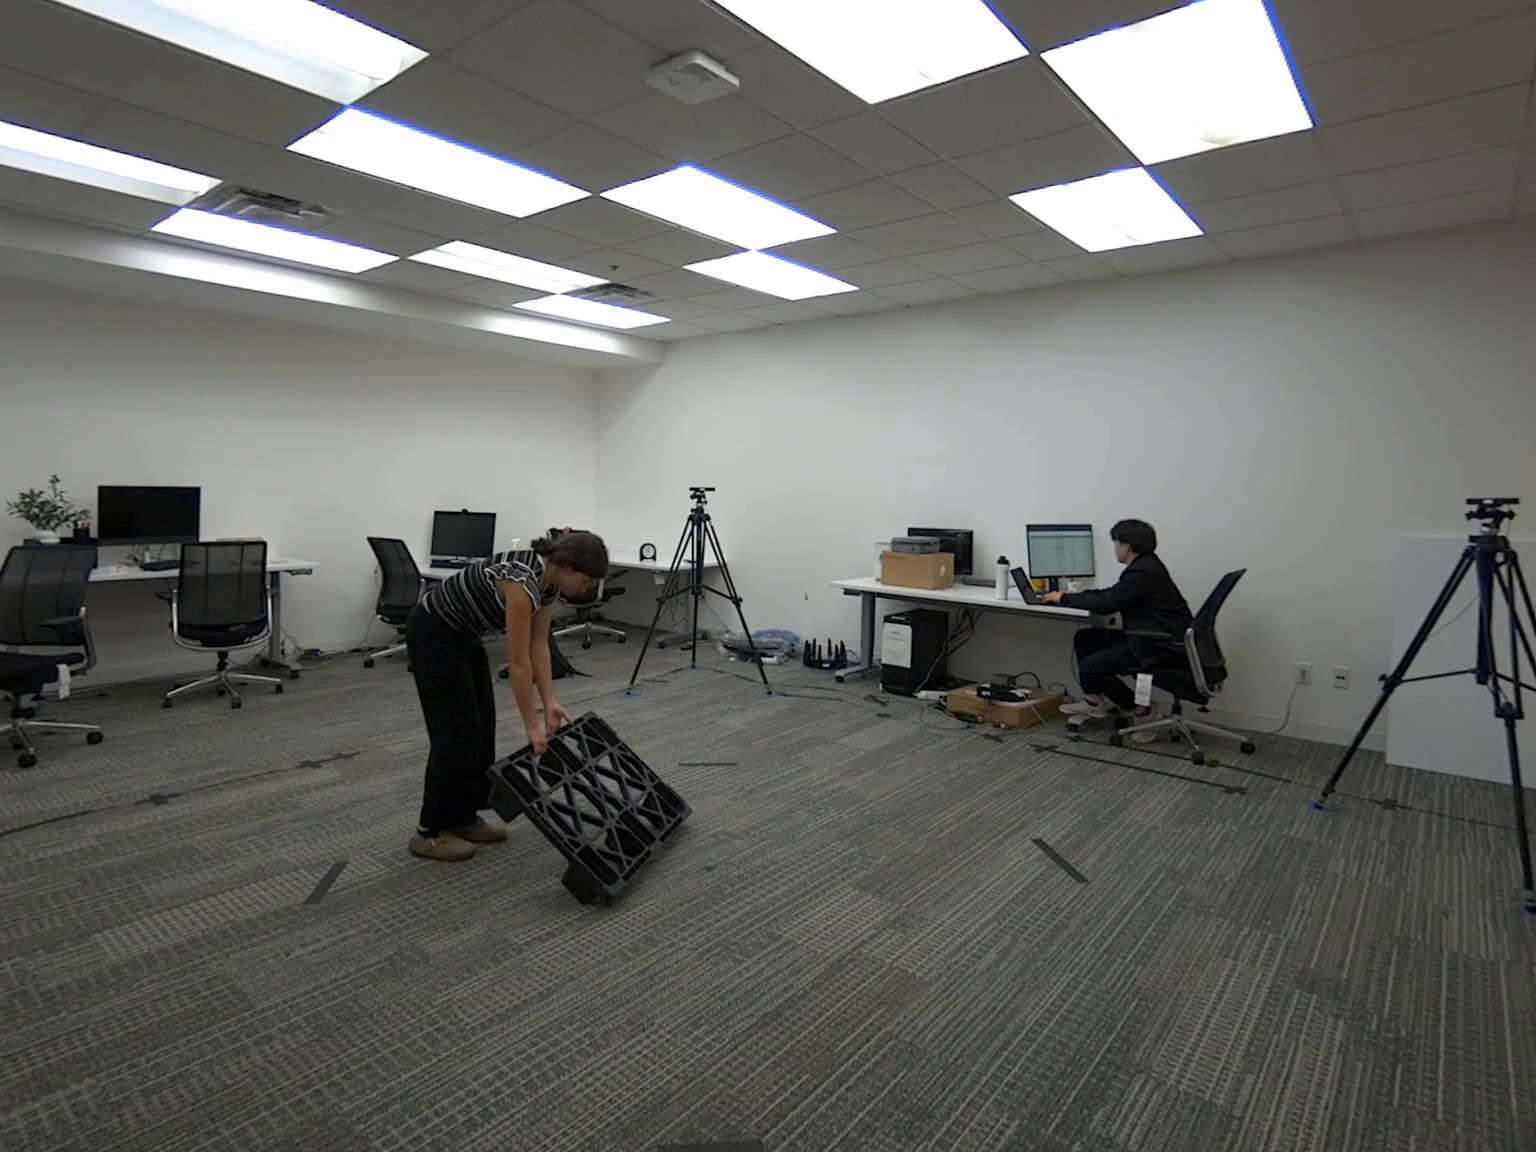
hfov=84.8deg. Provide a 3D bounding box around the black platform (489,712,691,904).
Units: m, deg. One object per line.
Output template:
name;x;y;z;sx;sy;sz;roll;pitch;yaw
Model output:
black platform;-0.673;0.850;3.207;0.614;0.143;0.795;42;13;8
